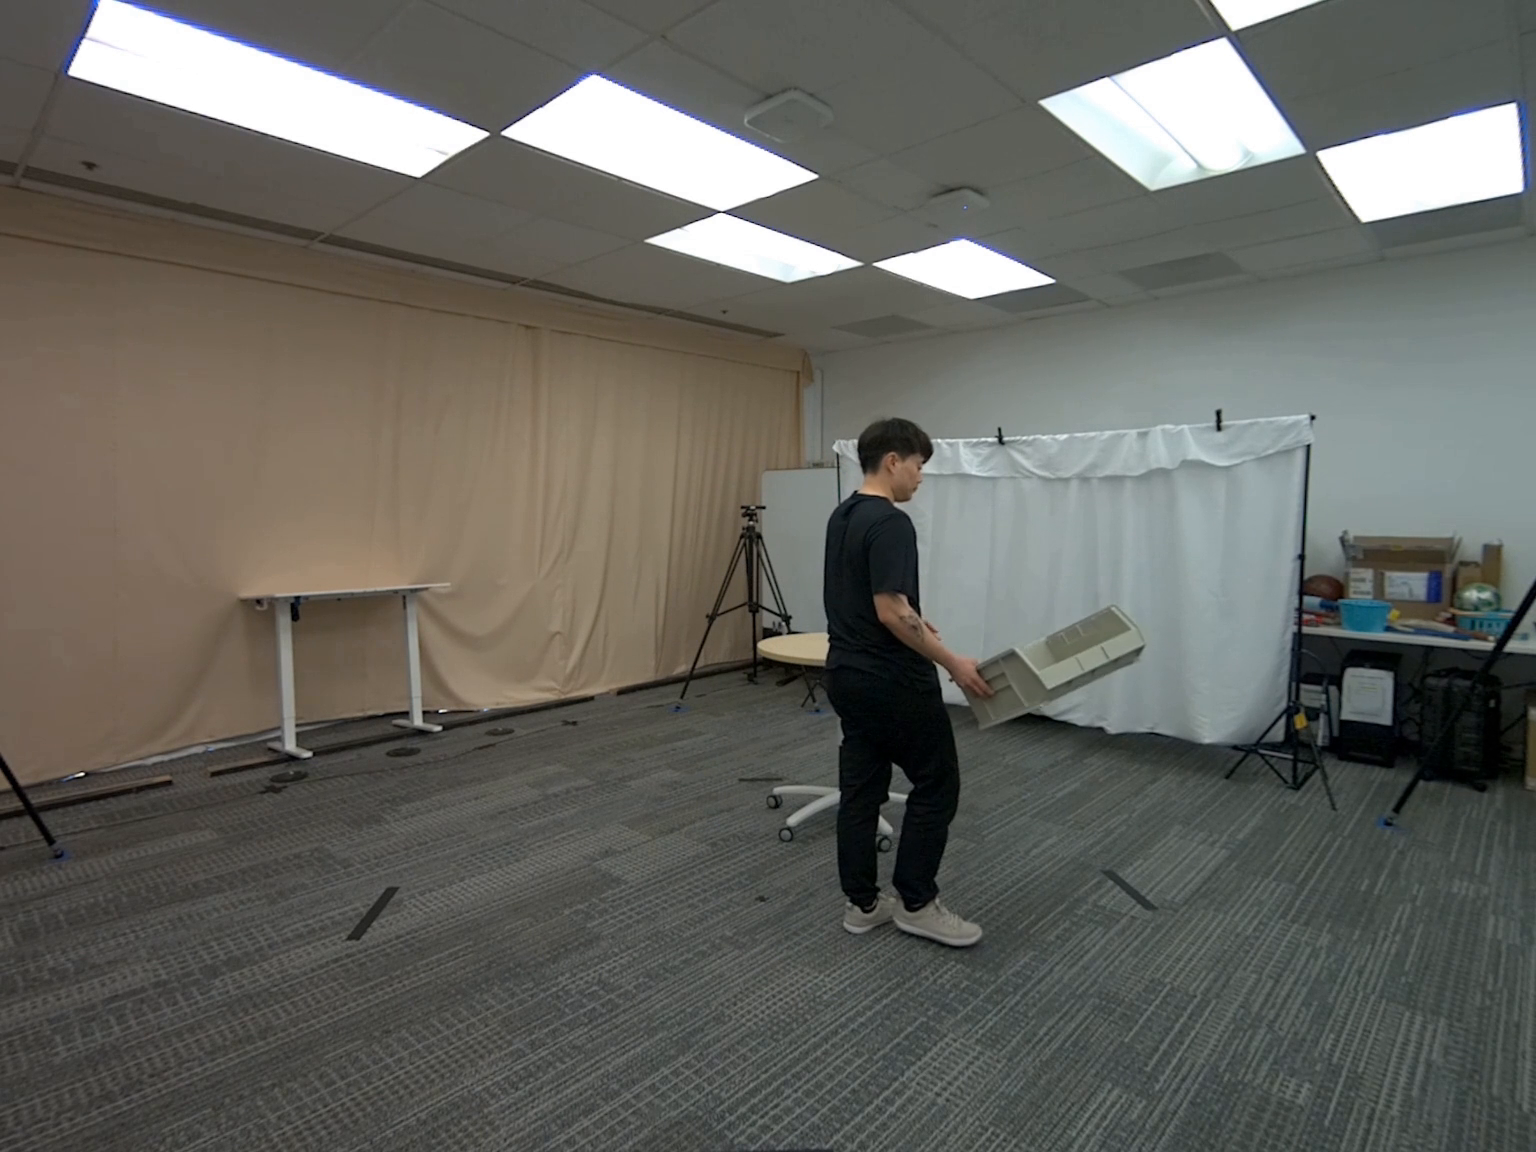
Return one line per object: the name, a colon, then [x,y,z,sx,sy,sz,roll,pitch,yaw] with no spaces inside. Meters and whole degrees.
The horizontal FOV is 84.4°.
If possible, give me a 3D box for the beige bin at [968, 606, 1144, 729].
beige bin: [0.860,0.276,2.535,0.414,0.192,0.379,-19,-15,-27]
